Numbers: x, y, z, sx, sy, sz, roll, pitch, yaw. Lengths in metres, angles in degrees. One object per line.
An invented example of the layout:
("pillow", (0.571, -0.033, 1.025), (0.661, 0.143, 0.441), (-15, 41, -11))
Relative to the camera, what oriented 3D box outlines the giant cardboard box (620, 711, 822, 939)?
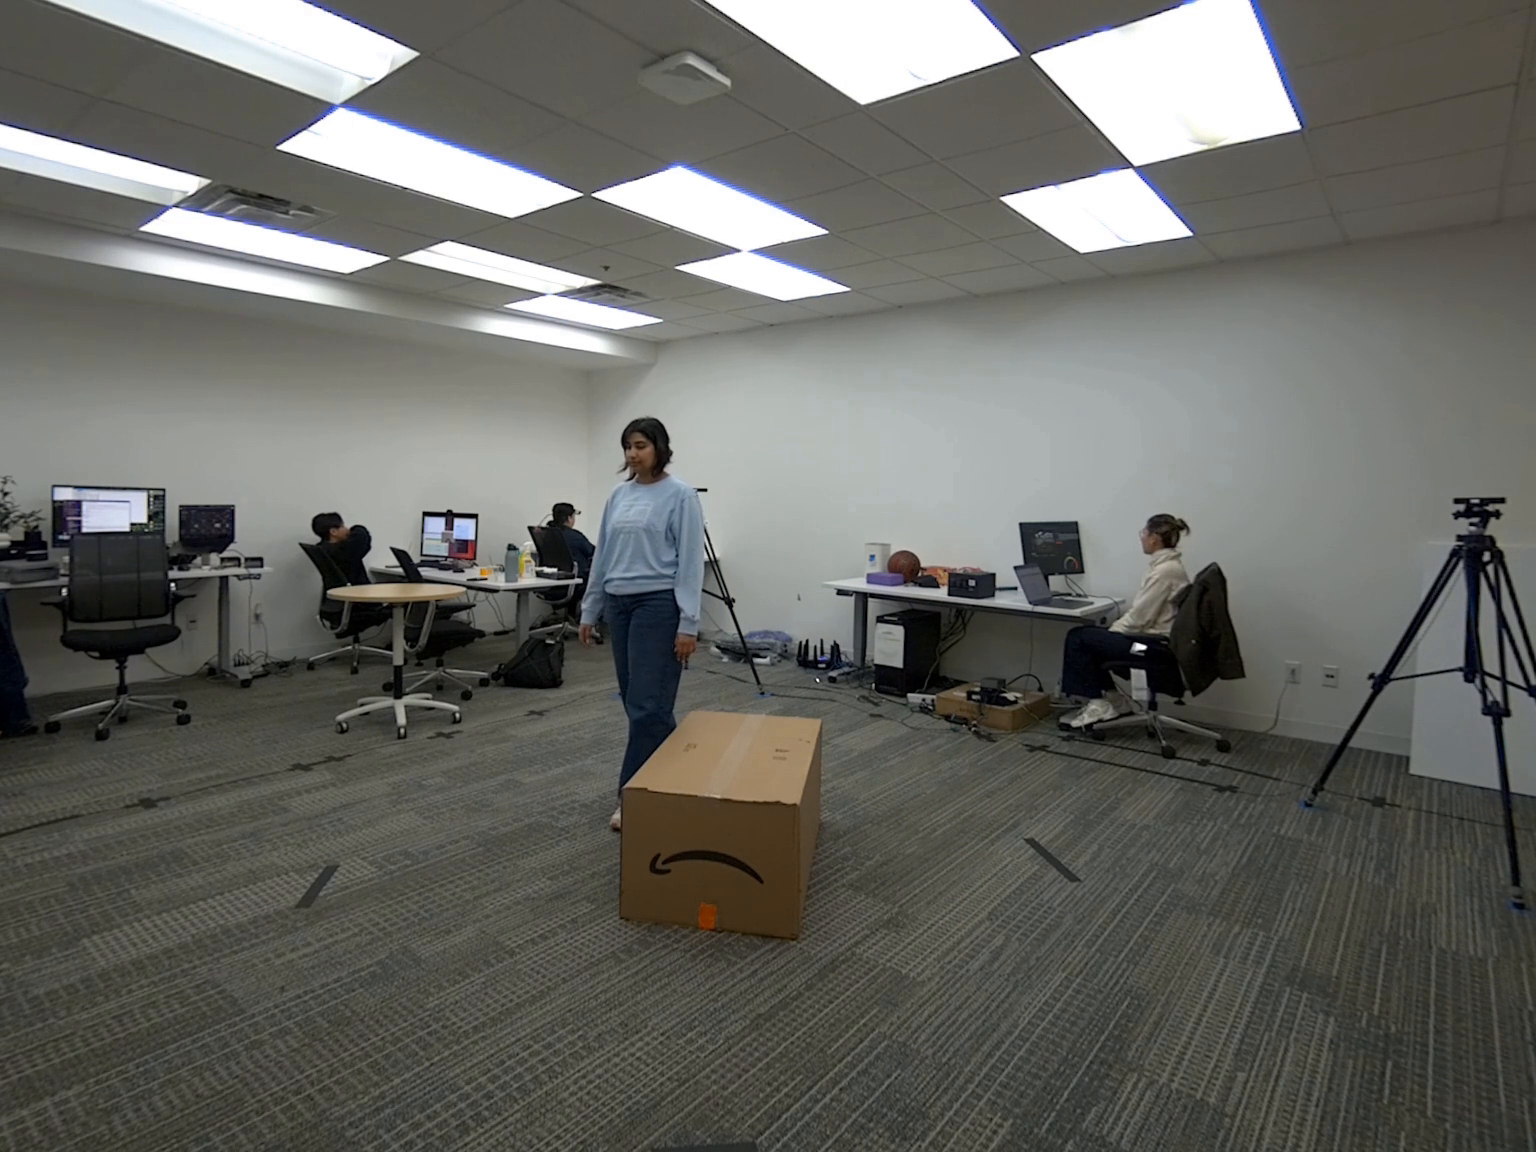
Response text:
("giant cardboard box", (-0.132, 0.849, 3.159), (0.584, 0.425, 1.018), (2, 5, 9))
